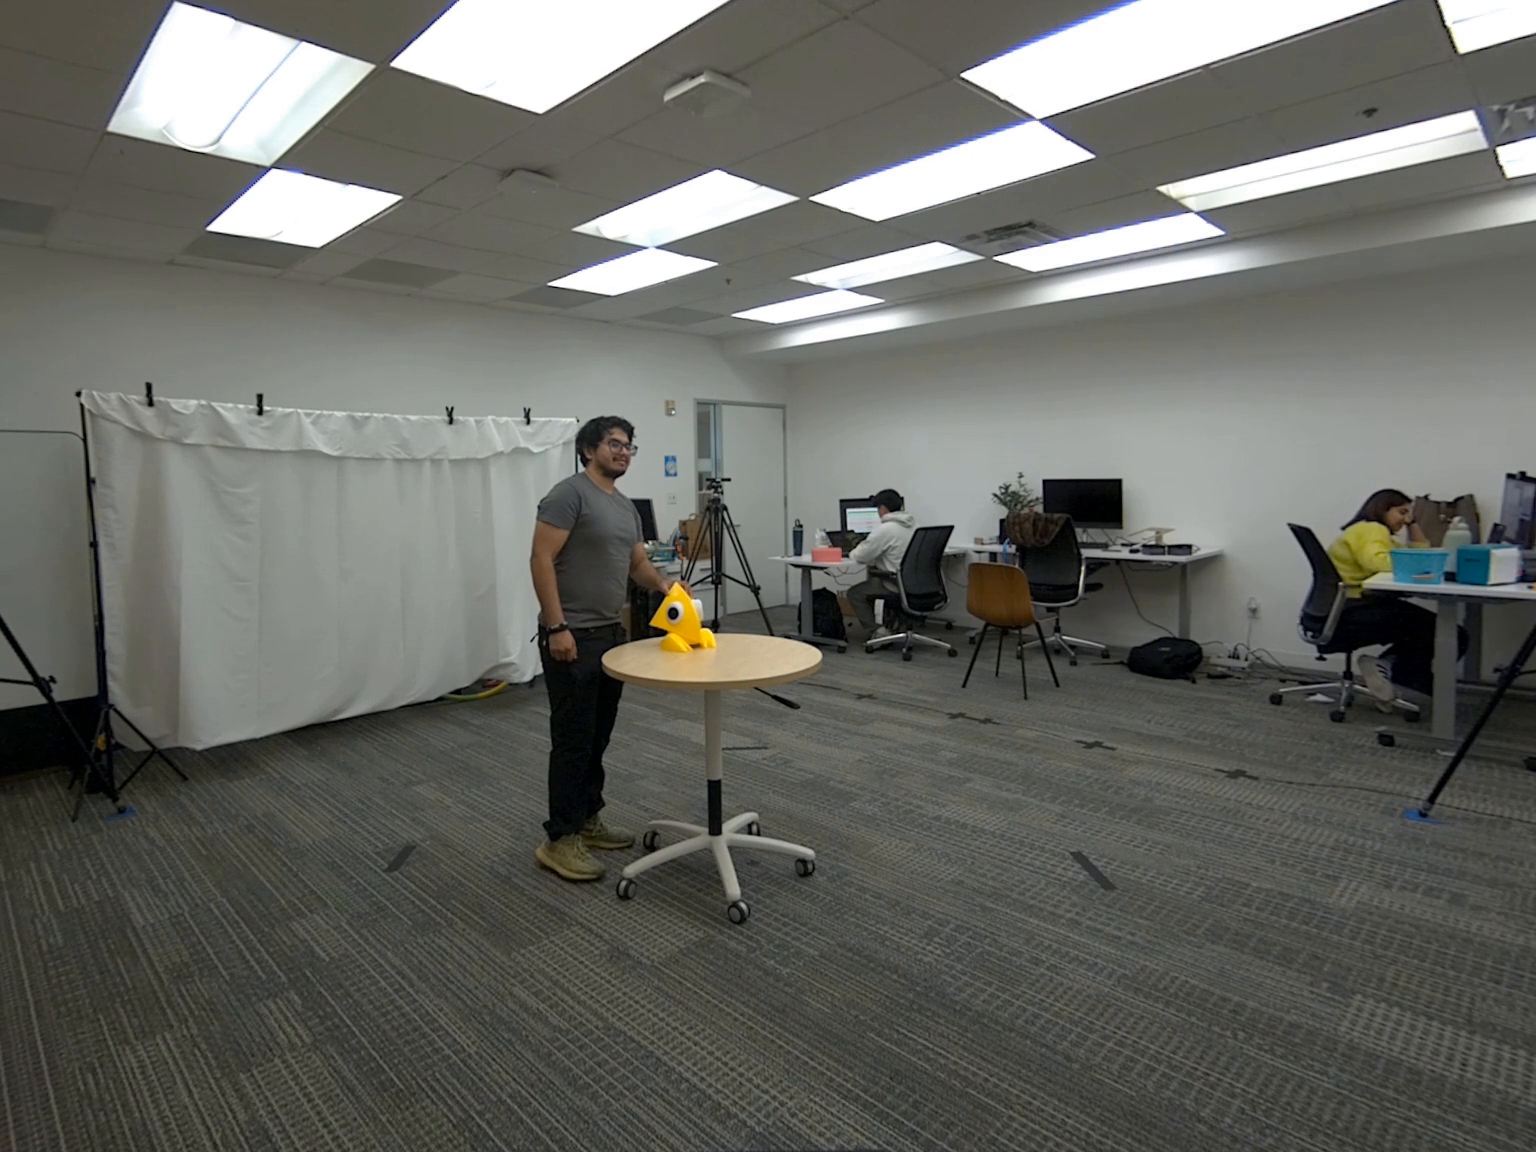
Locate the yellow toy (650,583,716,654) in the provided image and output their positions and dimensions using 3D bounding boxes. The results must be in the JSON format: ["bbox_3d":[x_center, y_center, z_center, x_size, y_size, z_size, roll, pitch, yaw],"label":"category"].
[{"bbox_3d":[-0.300,0.143,3.130,0.199,0.230,0.199,-3,5,-38],"label":"yellow toy"}]
